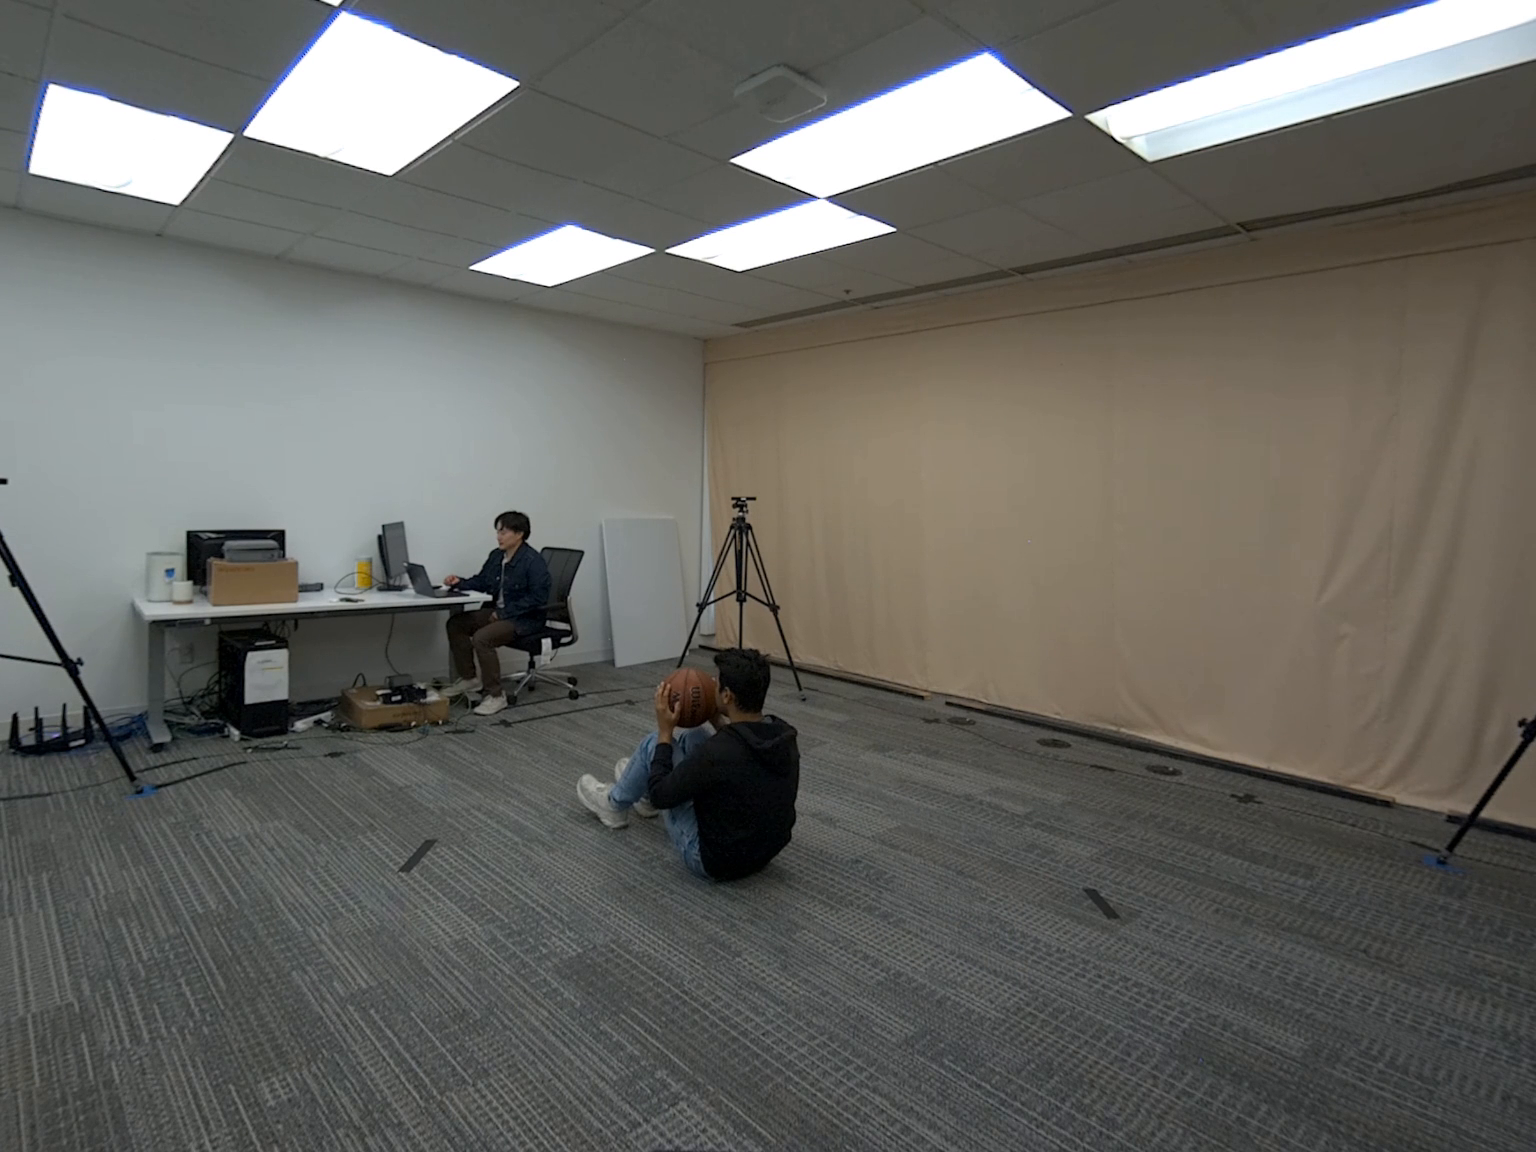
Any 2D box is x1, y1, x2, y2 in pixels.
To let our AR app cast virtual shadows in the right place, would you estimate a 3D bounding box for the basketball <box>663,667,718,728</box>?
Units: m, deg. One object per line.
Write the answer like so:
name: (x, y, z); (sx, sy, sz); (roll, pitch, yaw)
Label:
basketball: (-0.309, 0.473, 3.307); (0.236, 0.235, 0.237); (1, 4, -1)
